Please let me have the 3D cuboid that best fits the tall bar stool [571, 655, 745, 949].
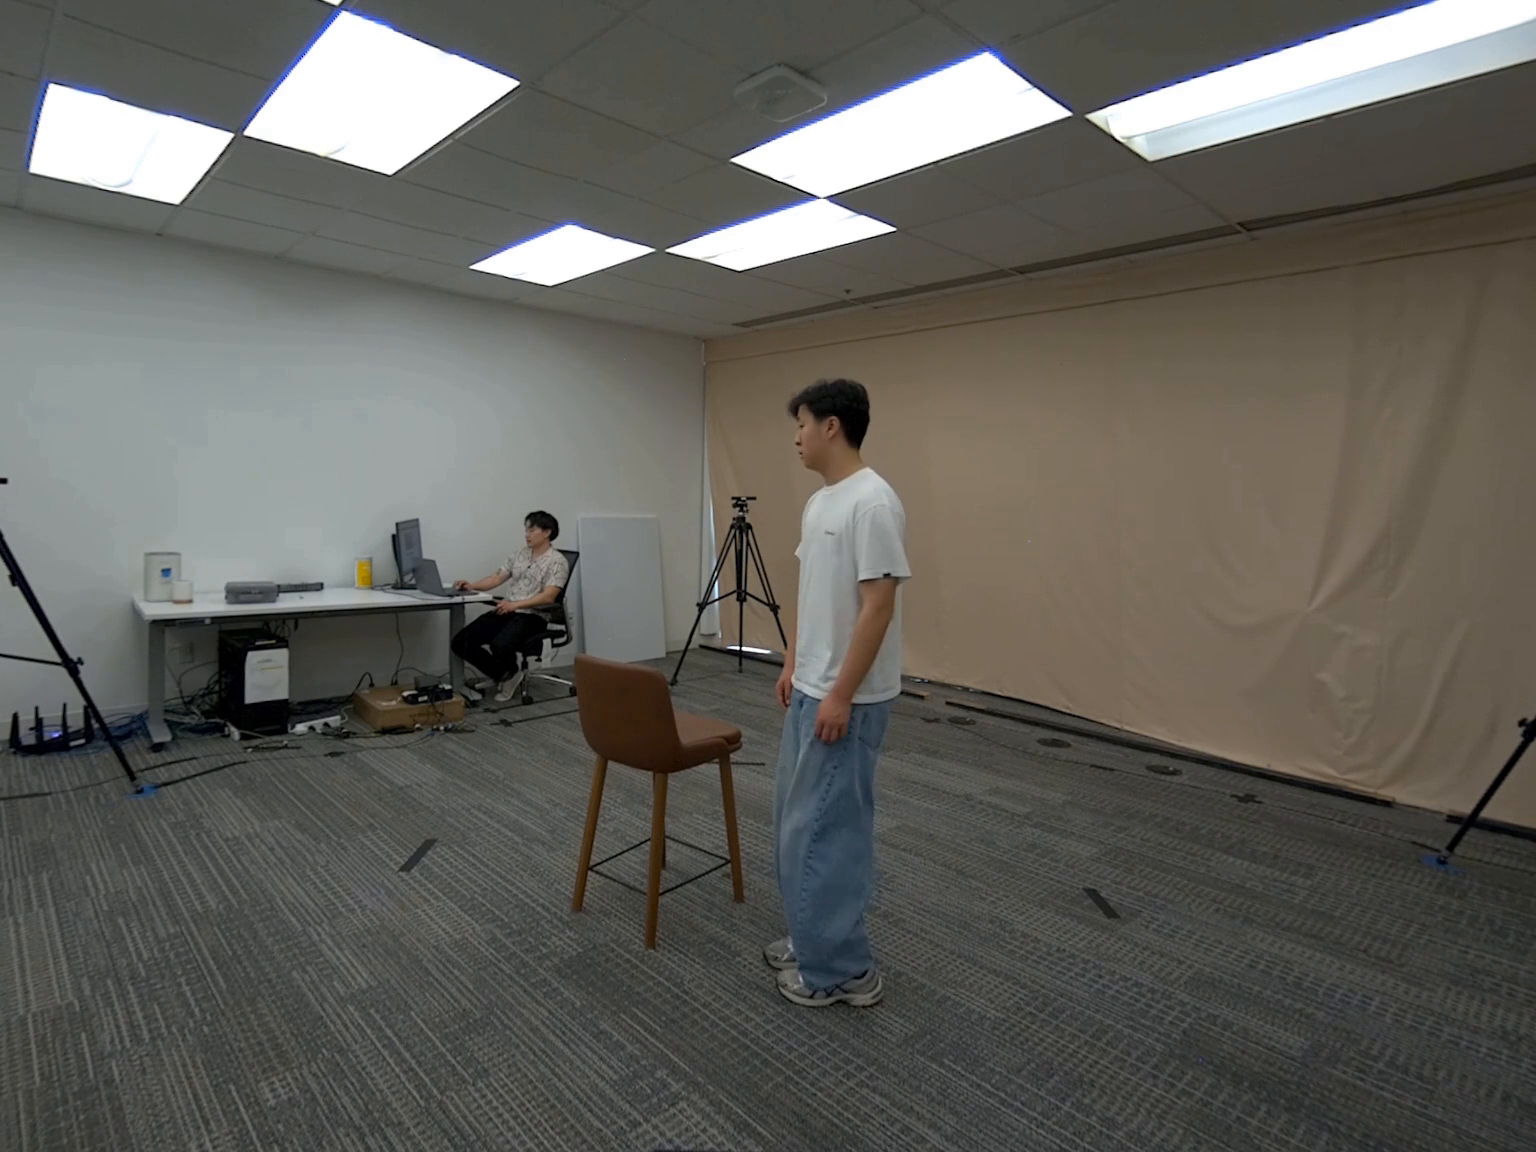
[{"bbox_3d":[-0.378,0.689,2.848,0.468,0.887,0.458,4,6,38],"label":"tall bar stool"}]
